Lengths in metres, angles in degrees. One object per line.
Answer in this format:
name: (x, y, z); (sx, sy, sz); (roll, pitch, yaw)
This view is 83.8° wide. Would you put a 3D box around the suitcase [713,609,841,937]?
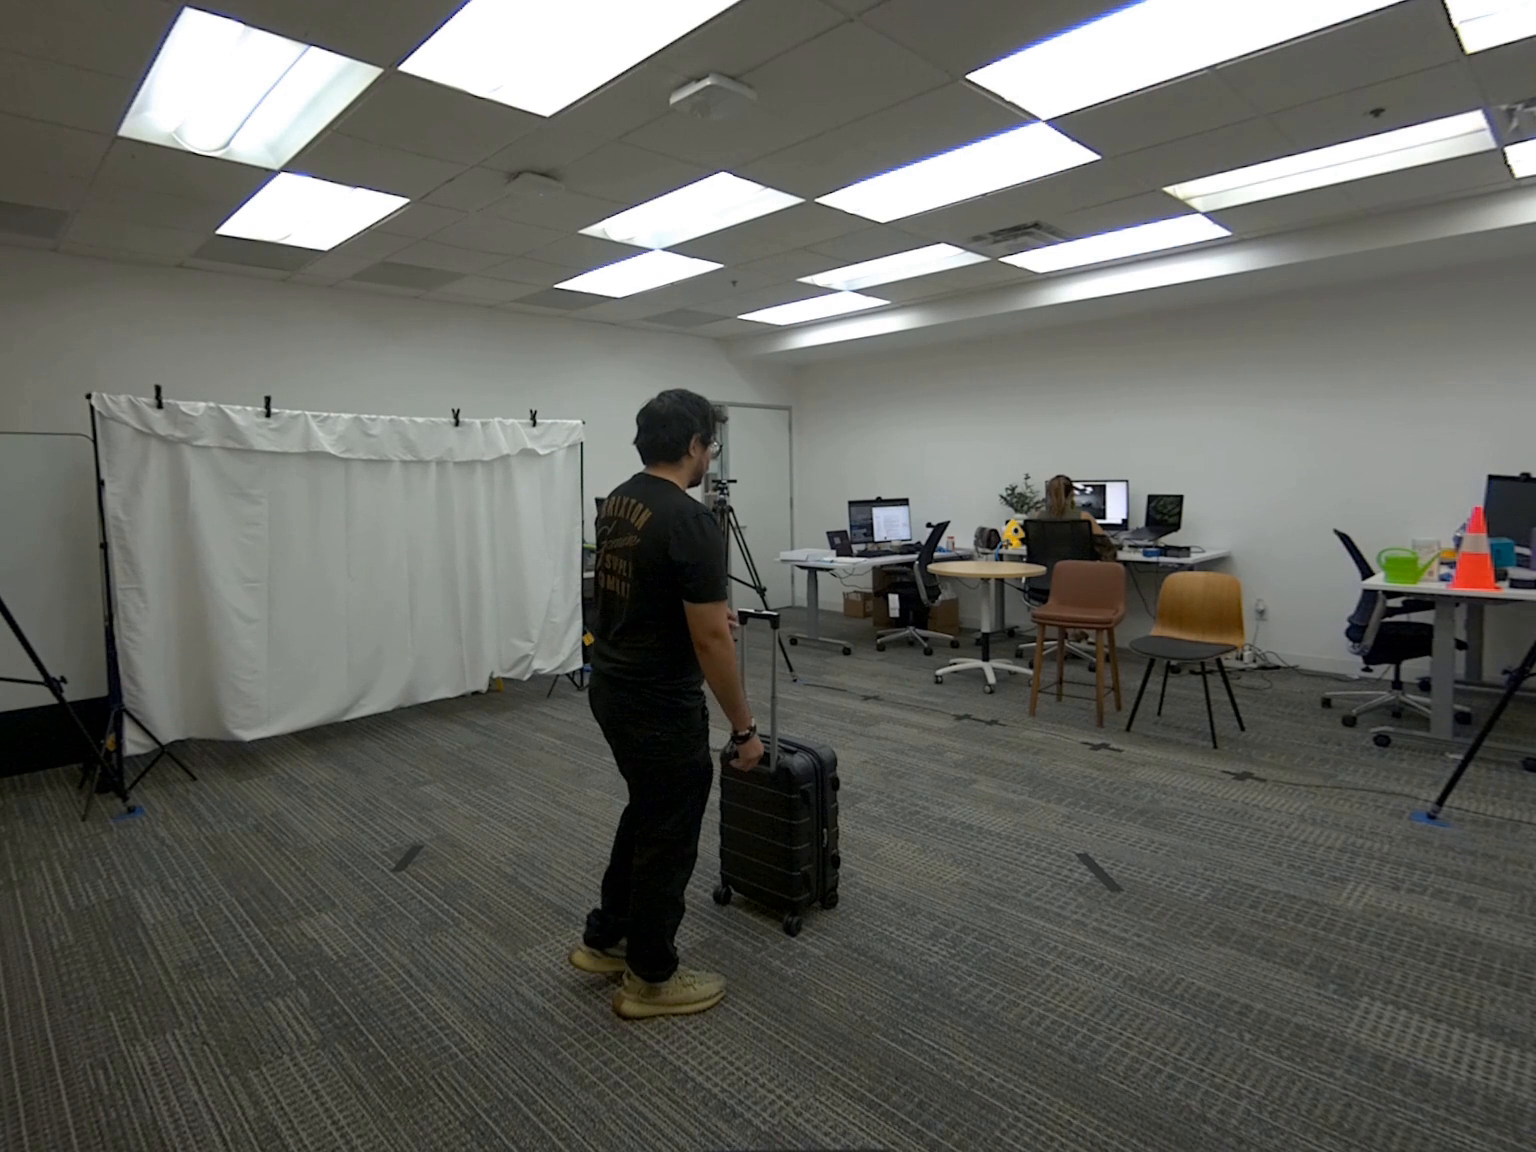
suitcase: (0.040, 0.601, 2.804); (0.395, 0.978, 0.250); (2, 1, 41)
